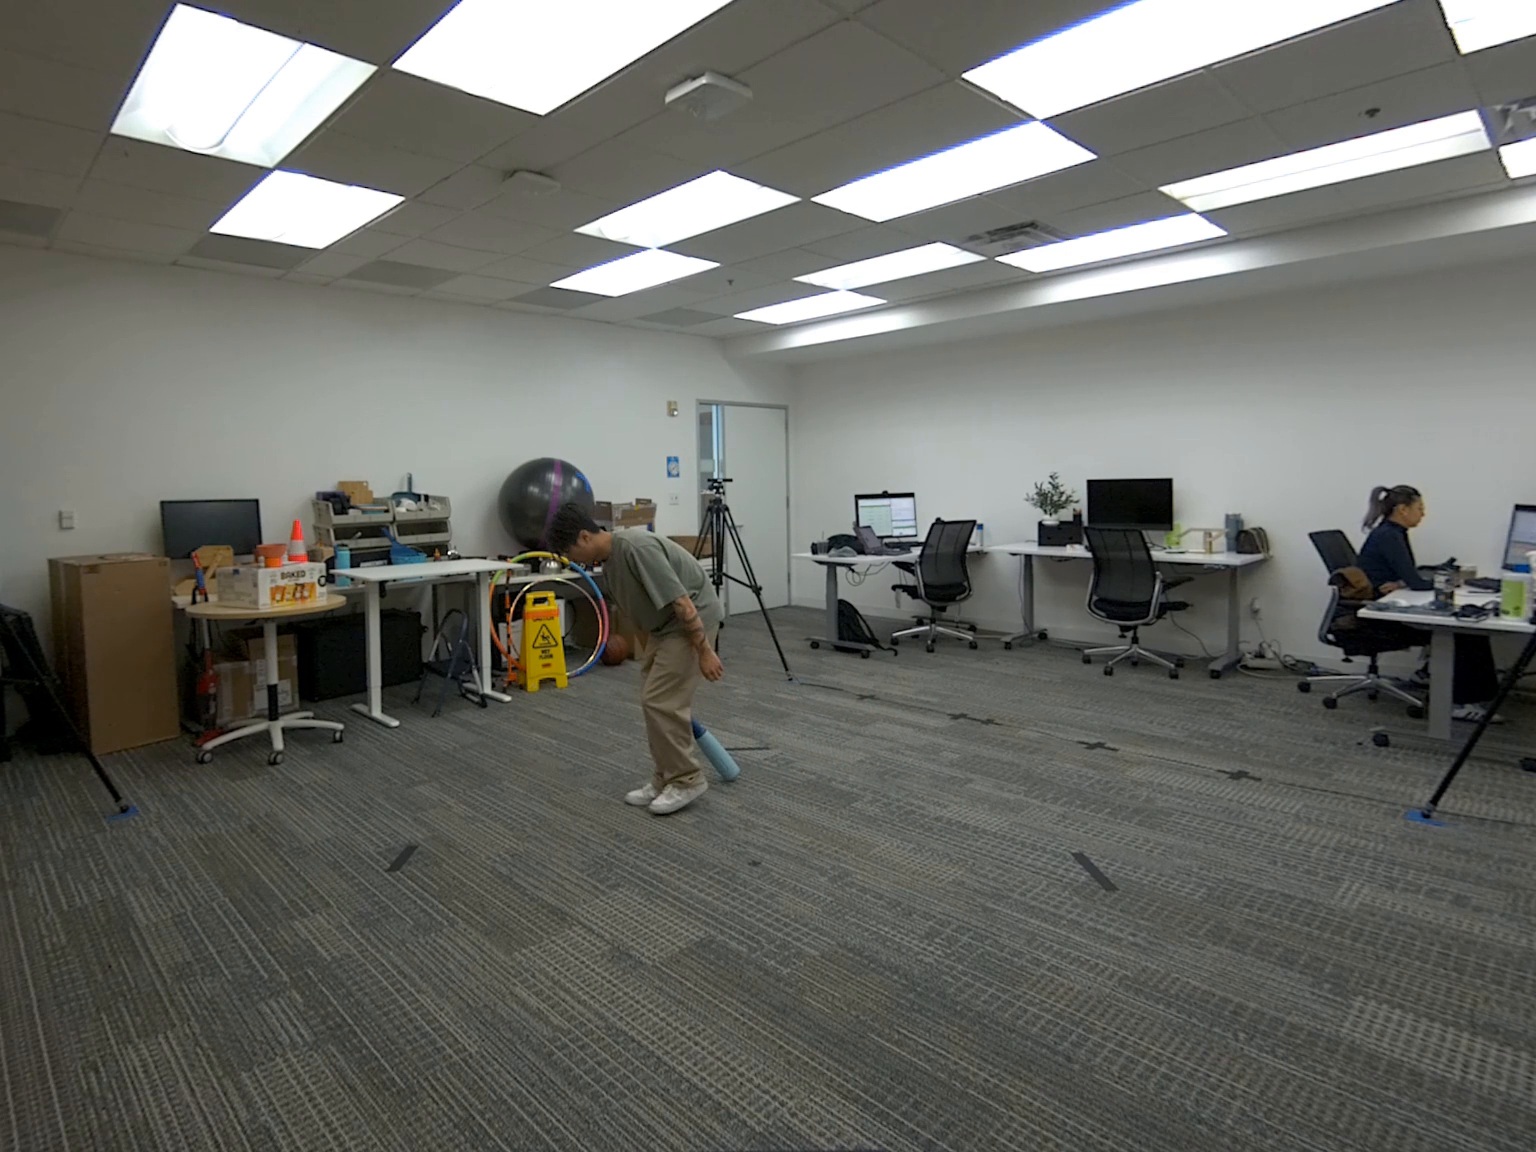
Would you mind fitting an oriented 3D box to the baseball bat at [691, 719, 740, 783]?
[{"bbox_3d":[-0.321,0.724,3.970,0.089,0.543,0.089,-38,0,0],"label":"baseball bat"}]
